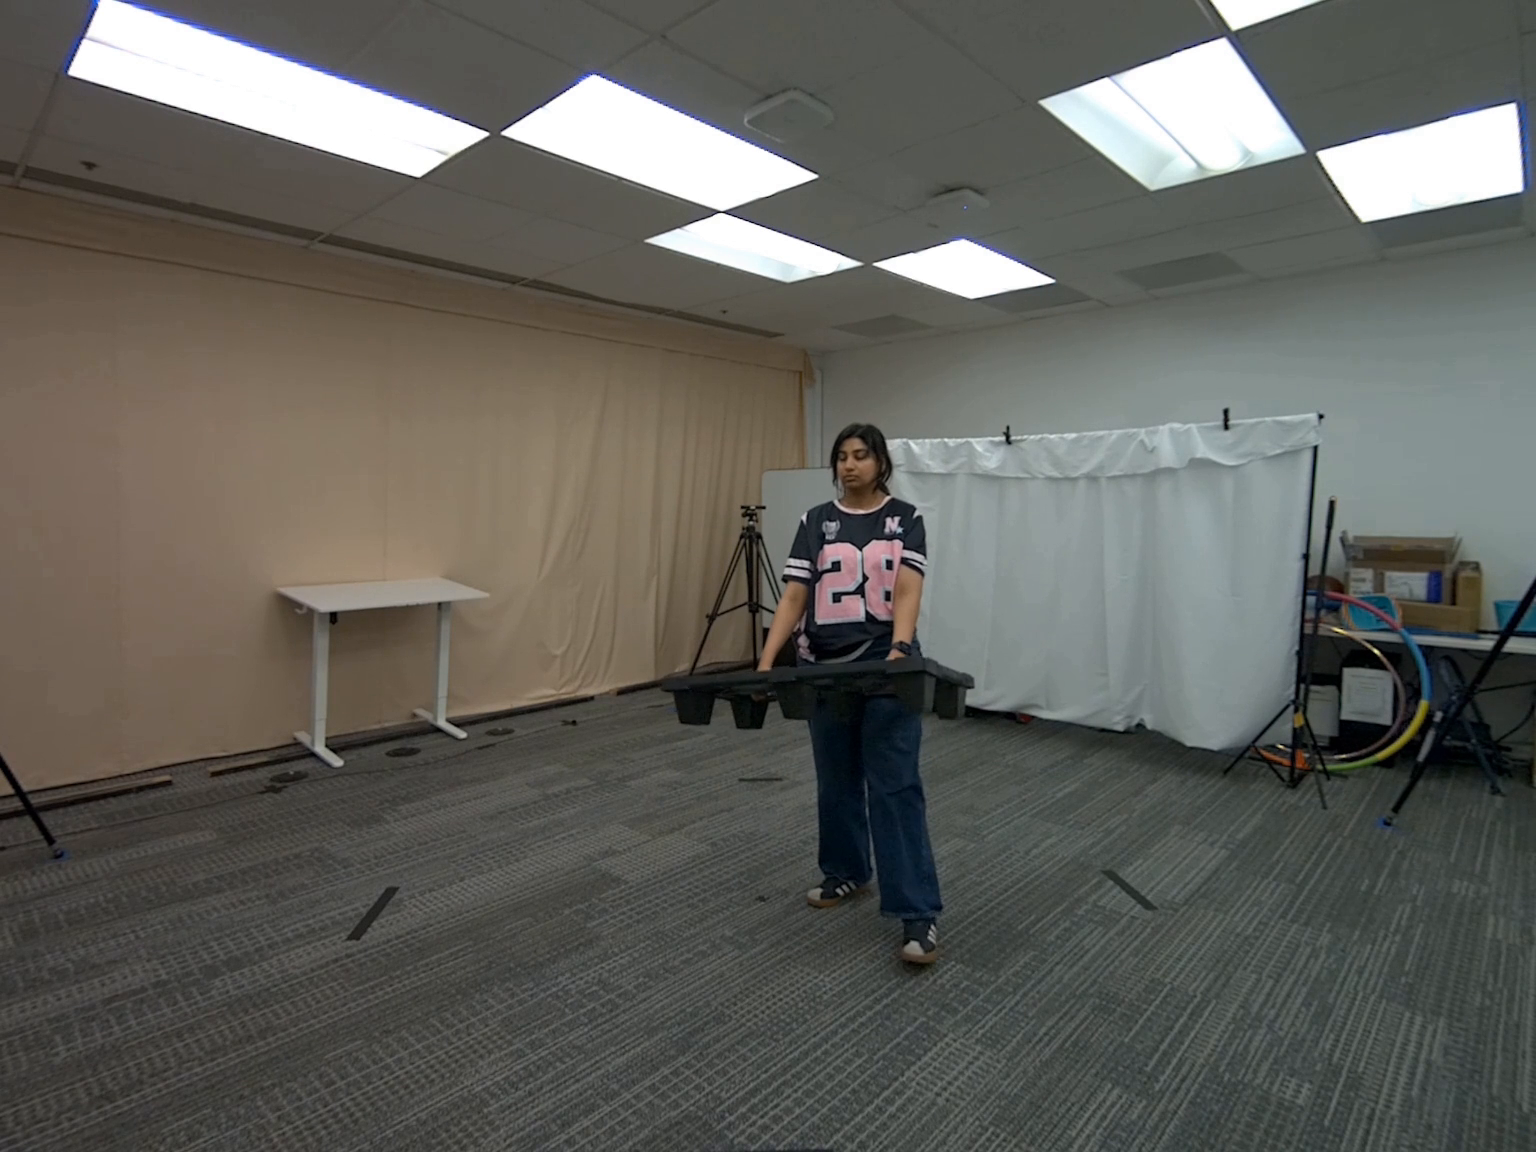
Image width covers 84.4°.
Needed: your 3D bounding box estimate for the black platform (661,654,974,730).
[{"bbox_3d":[0.164,0.377,2.537,0.825,0.144,0.585,-7,-15,26],"label":"black platform"}]
